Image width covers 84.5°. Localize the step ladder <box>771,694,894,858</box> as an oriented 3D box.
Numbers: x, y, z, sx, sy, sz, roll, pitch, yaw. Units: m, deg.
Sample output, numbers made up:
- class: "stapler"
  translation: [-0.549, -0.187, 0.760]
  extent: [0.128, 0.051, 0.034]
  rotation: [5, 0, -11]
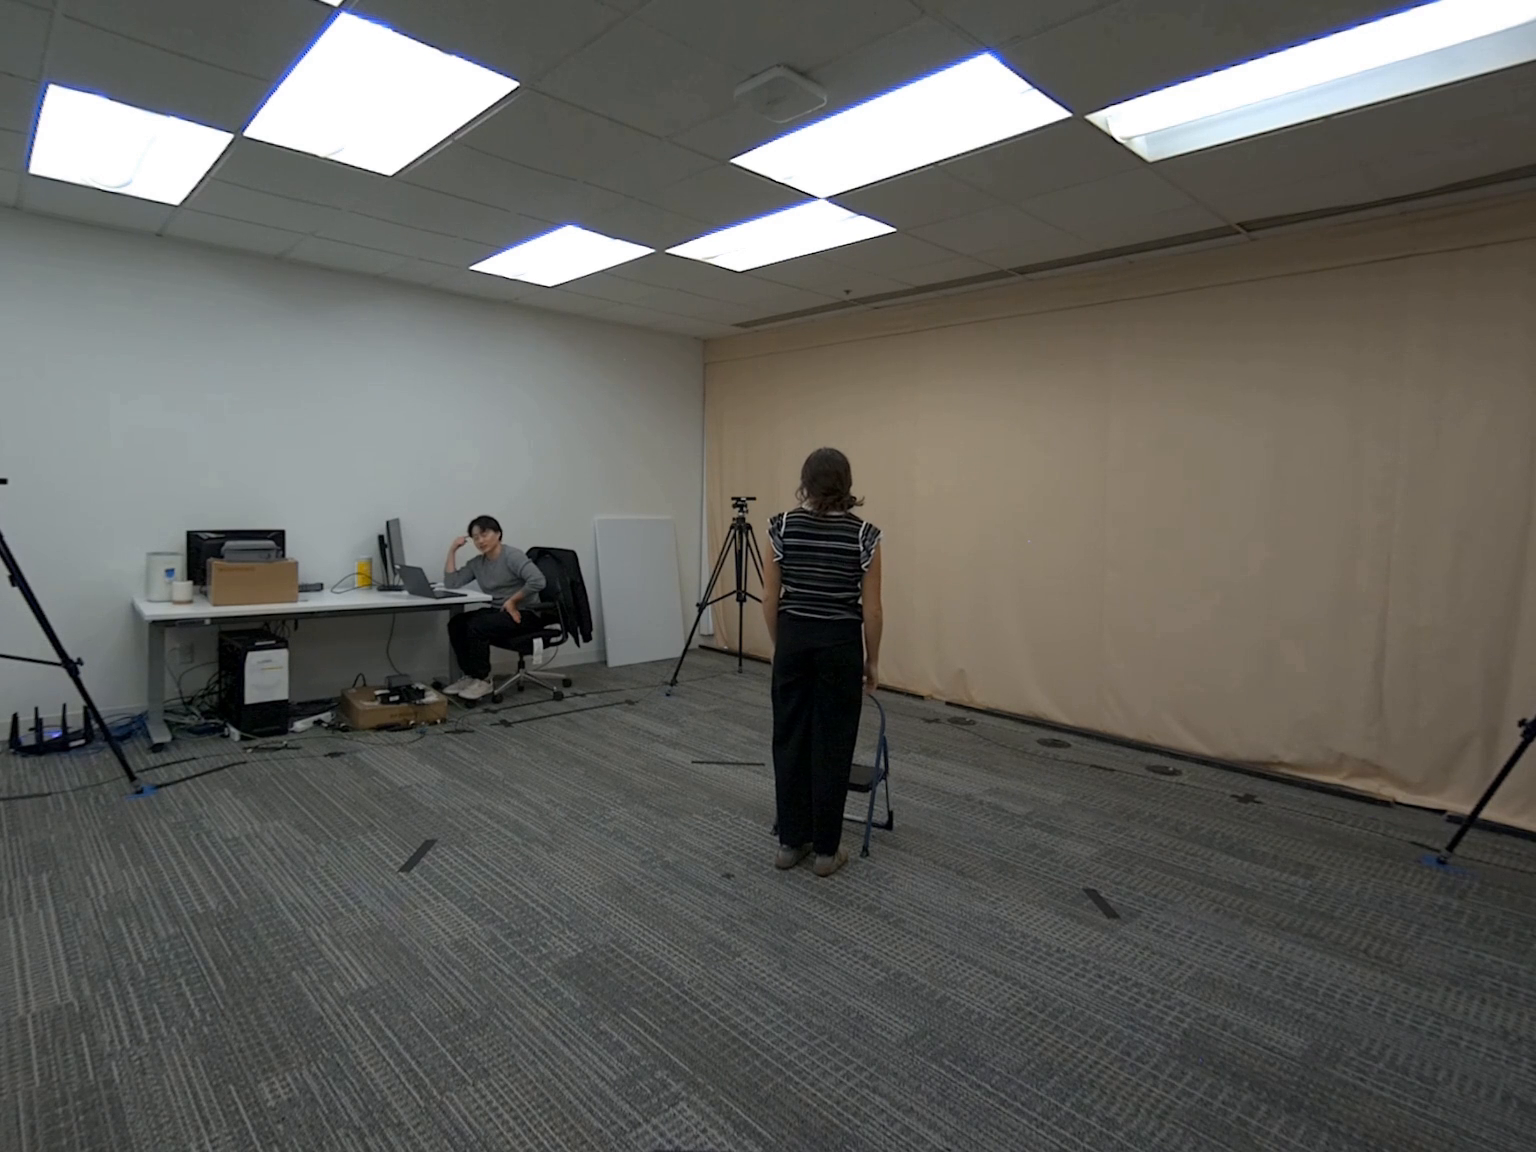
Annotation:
- class: "step ladder"
  translation: [0.280, 0.780, 3.540]
  extent: [0.440, 0.605, 0.342]
  rotation: [3, 3, 29]
